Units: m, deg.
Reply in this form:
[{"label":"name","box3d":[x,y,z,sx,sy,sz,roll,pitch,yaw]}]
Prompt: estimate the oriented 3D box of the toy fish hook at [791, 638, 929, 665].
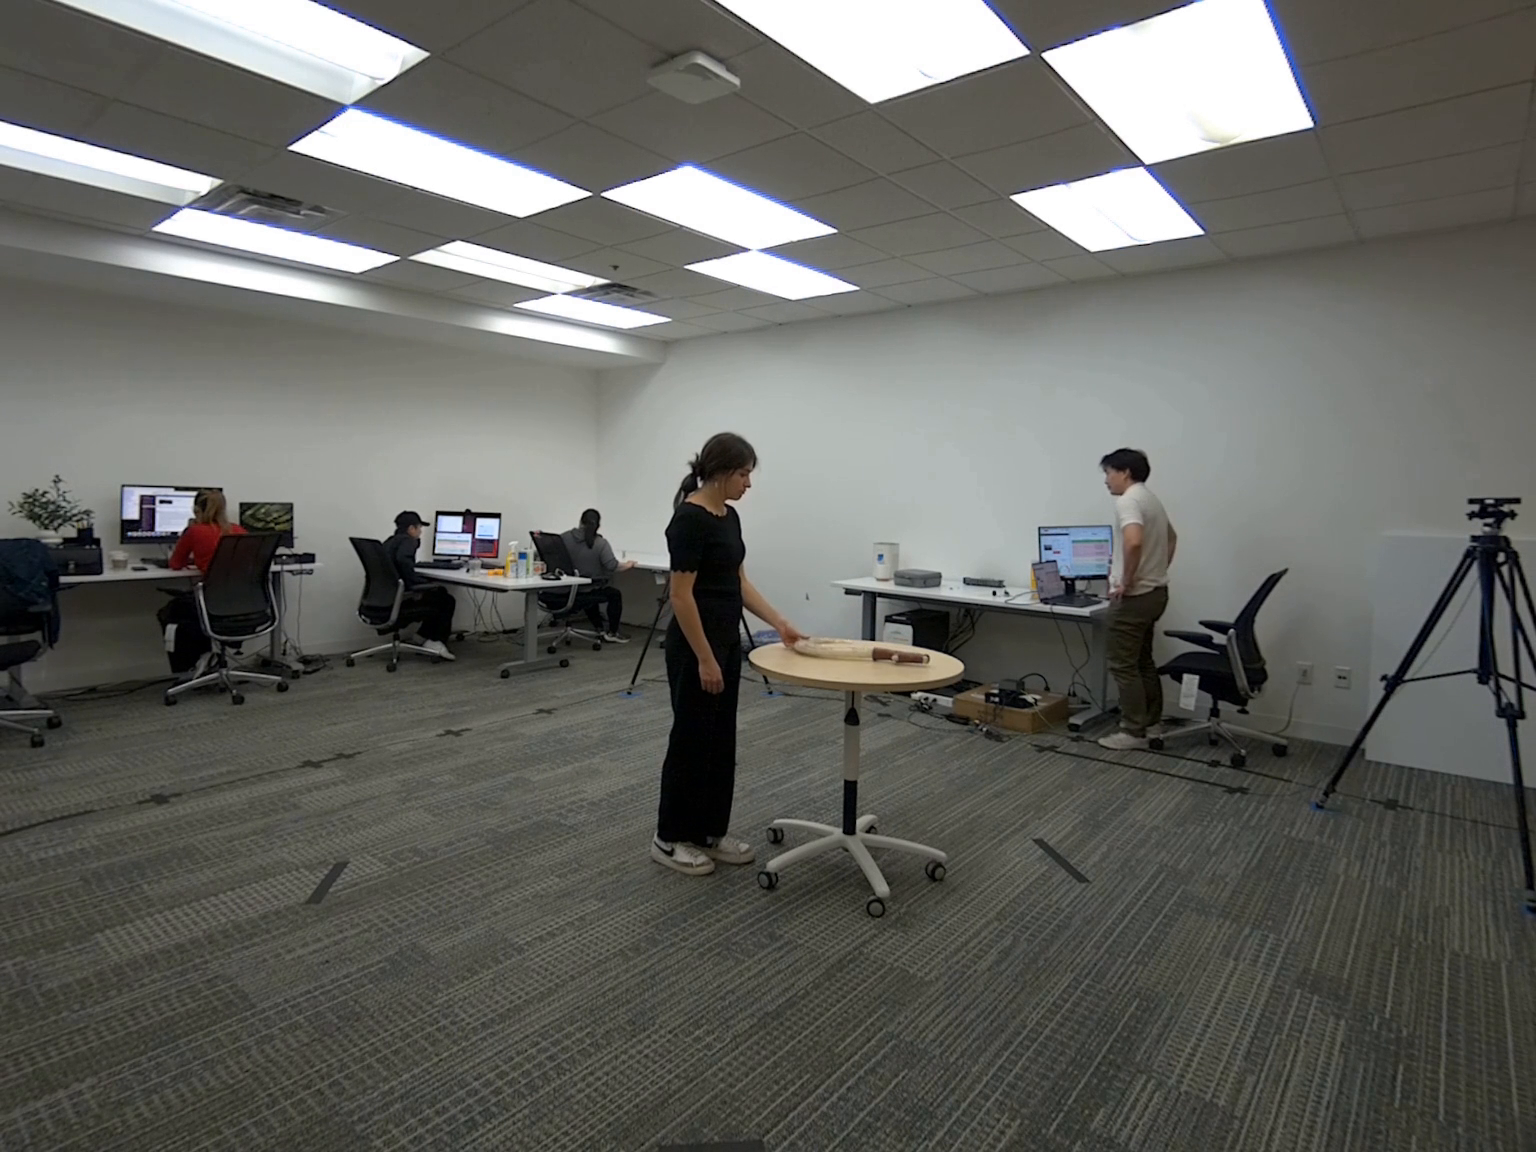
[{"label":"toy fish hook","box3d":[0.342,0.270,3.119,0.519,0.048,0.221,5,13,22]}]
